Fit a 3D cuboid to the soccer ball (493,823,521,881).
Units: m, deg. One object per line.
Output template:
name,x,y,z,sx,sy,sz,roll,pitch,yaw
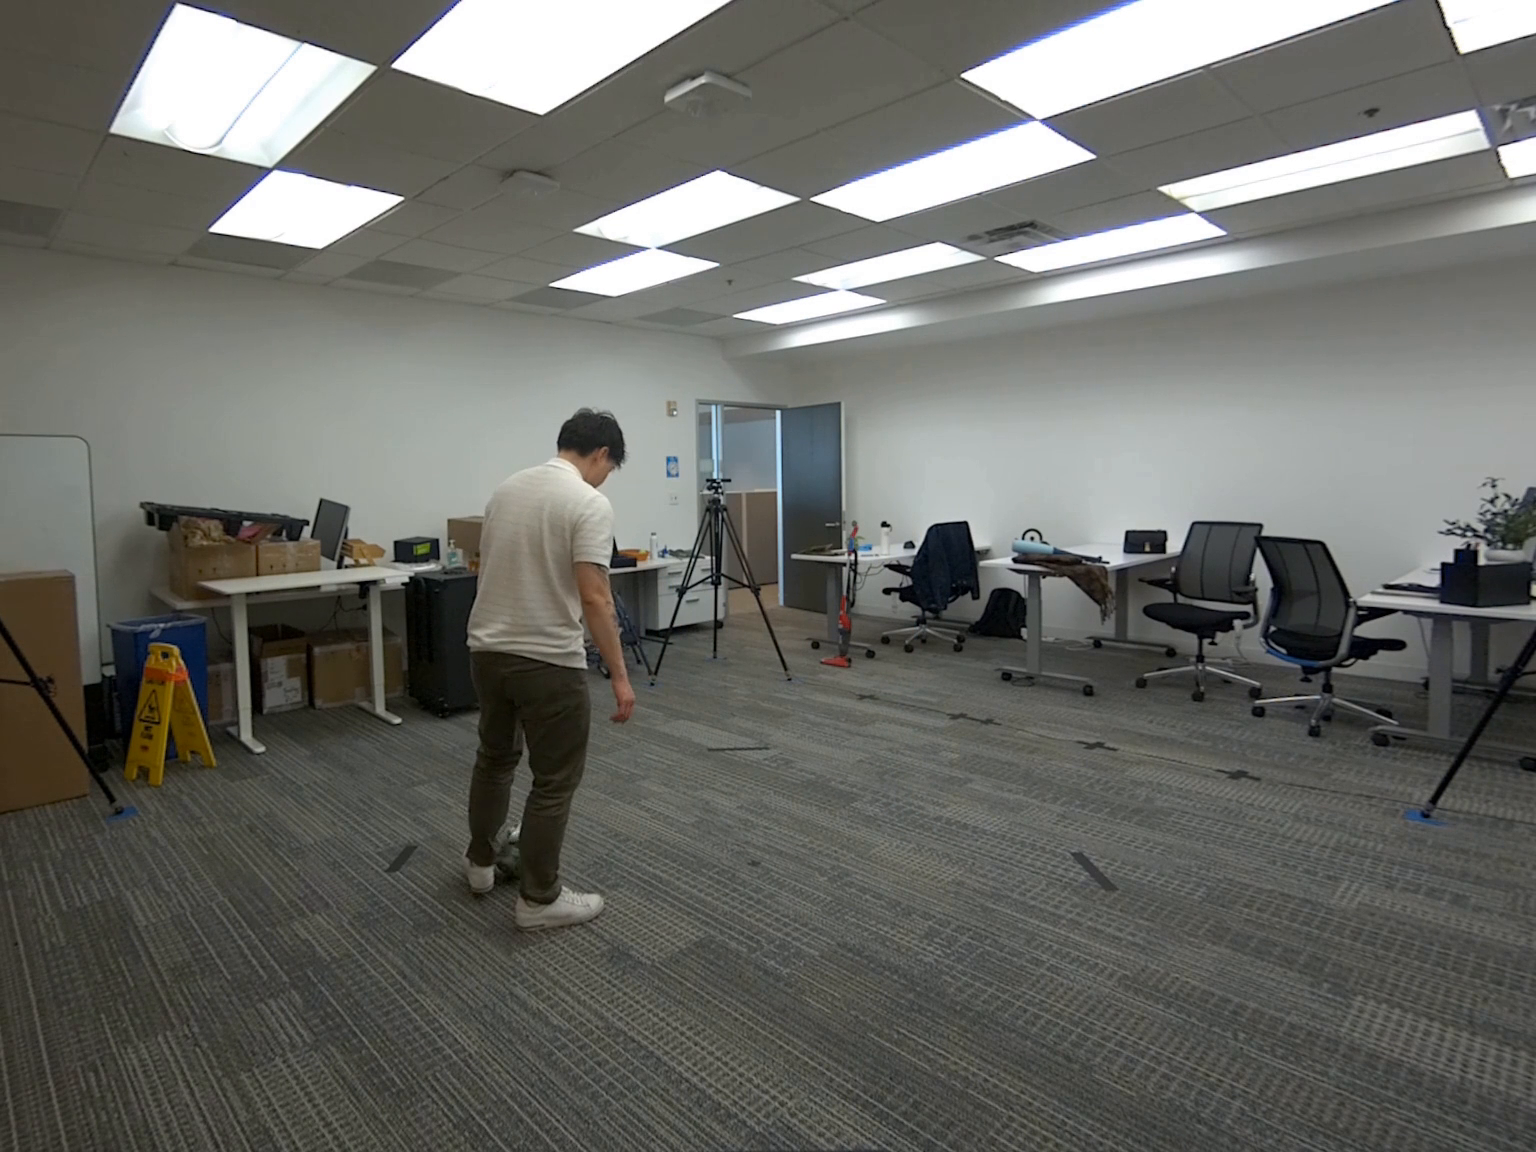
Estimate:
soccer ball,-0.871,0.976,3.050,0.187,0.187,0.188,-1,5,-2
